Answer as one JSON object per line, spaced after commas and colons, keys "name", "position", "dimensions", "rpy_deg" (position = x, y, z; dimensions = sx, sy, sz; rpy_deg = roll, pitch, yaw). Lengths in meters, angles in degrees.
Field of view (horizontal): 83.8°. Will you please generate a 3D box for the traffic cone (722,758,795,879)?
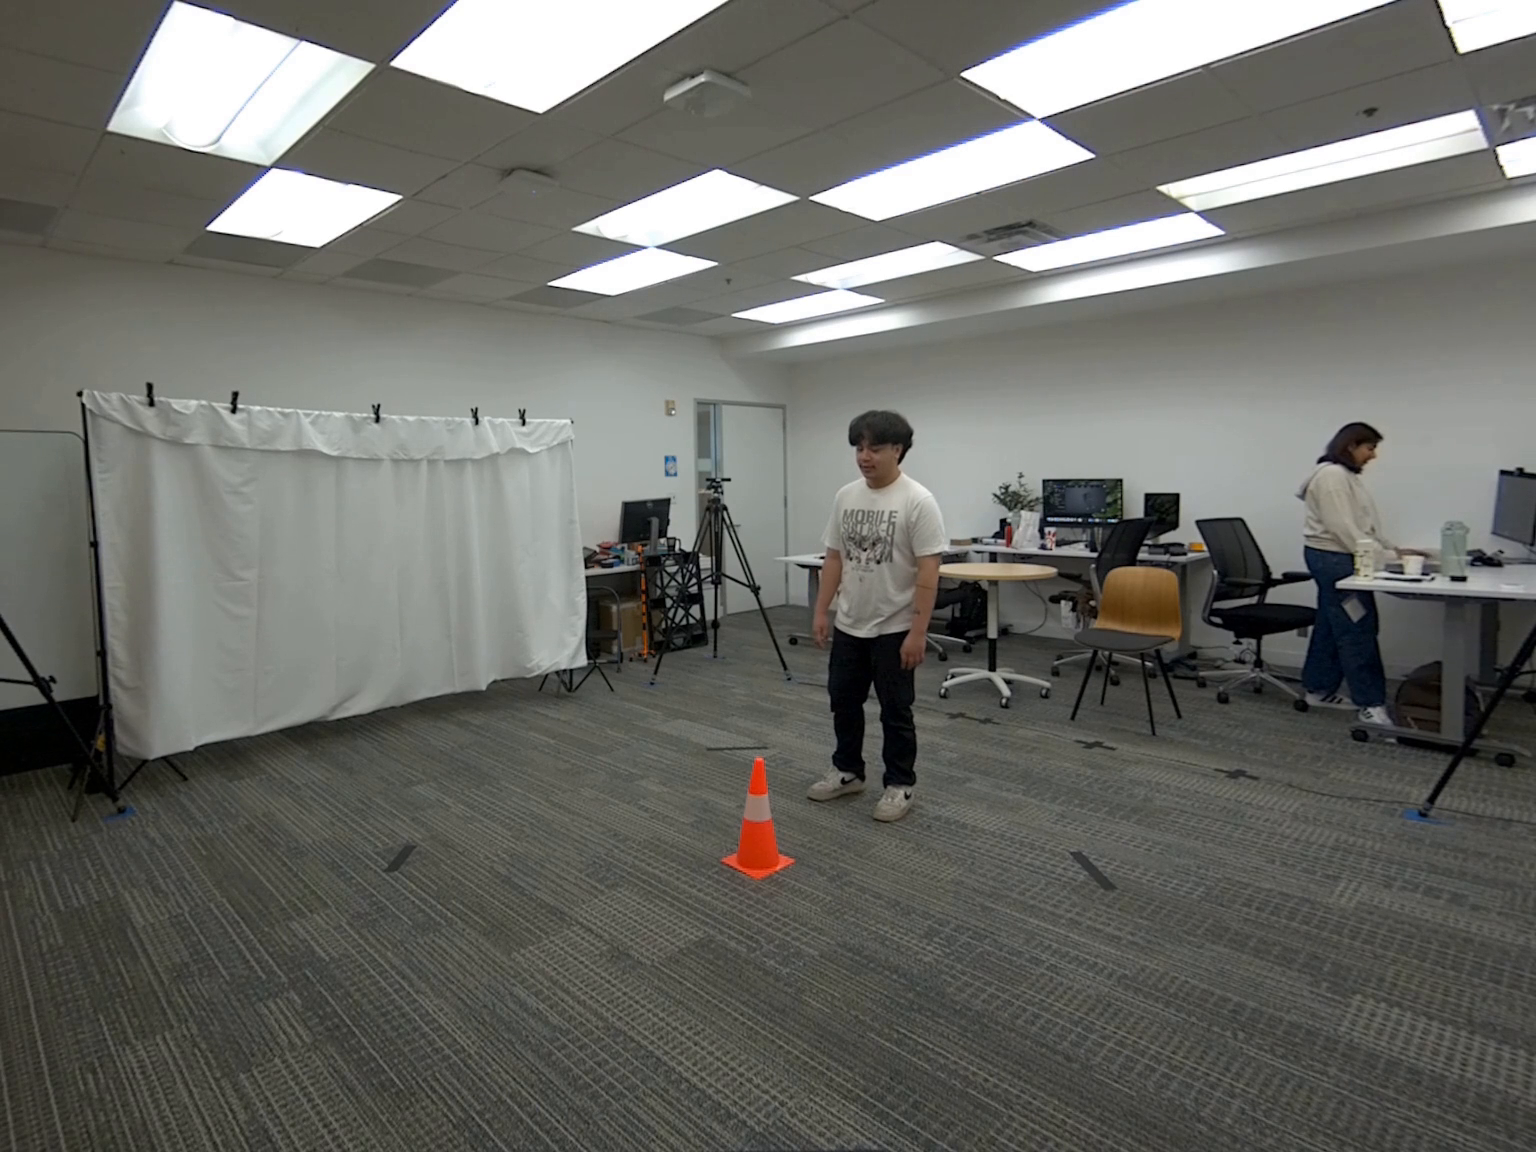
{"name": "traffic cone", "position": [-0.033, 0.859, 3.103], "dimensions": [0.211, 0.382, 0.198], "rpy_deg": [4, 6, 41]}
